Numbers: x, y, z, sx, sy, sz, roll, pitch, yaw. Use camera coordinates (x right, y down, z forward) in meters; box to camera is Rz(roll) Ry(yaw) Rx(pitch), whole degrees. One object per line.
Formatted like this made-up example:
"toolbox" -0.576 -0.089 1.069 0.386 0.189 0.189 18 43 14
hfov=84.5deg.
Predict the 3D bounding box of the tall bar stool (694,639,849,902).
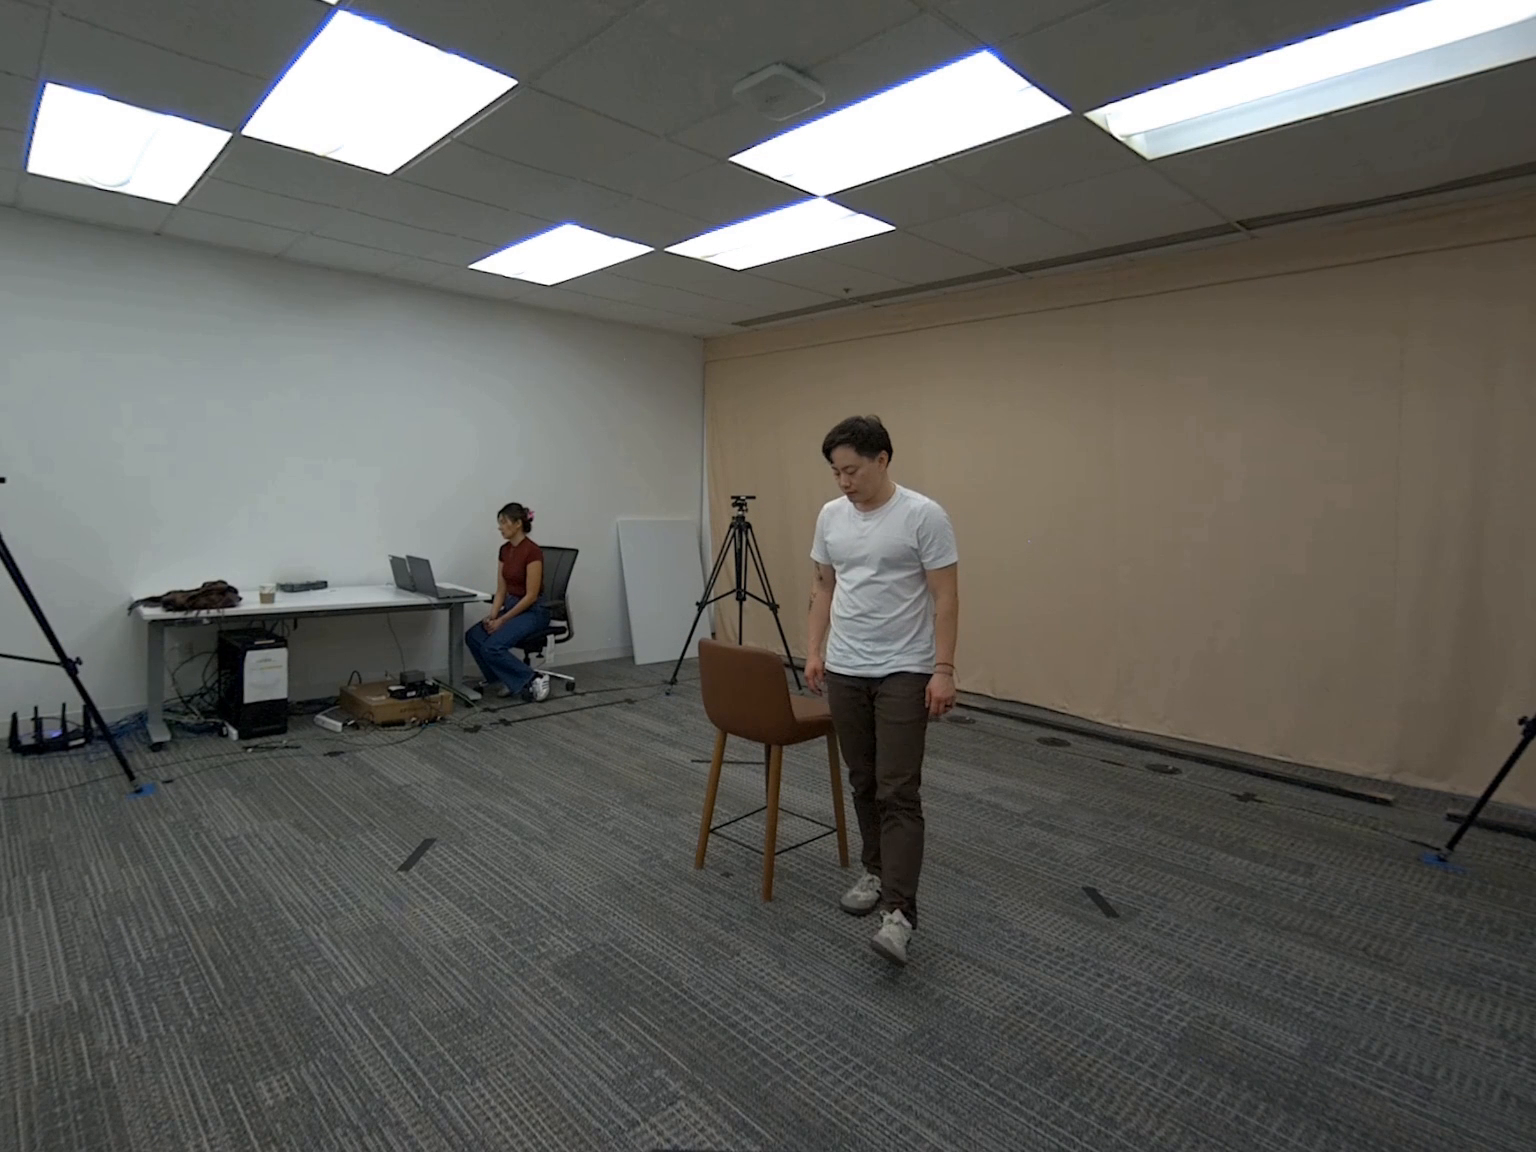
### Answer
"tall bar stool" 0.009 0.665 3.159 0.468 0.887 0.457 4 6 44
